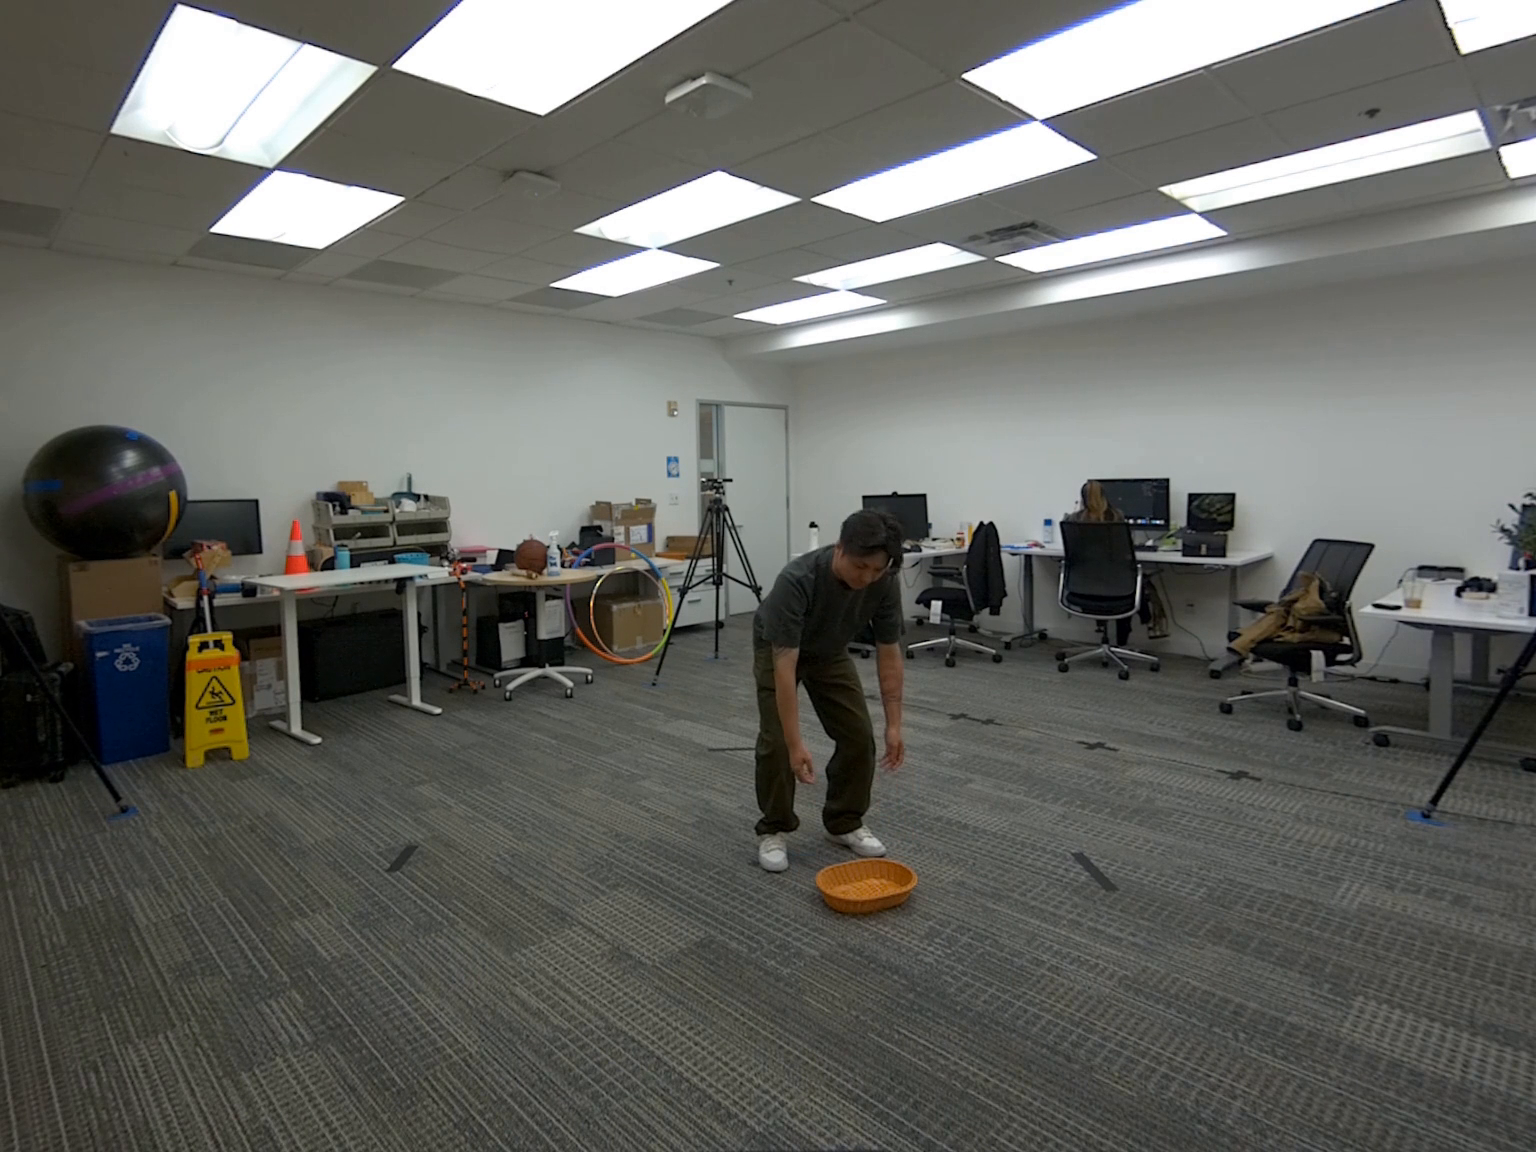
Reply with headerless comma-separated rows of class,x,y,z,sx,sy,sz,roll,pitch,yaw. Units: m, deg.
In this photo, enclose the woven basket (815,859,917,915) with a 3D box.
woven basket,0.329,1.032,2.833,0.344,0.073,0.258,-4,7,-22
